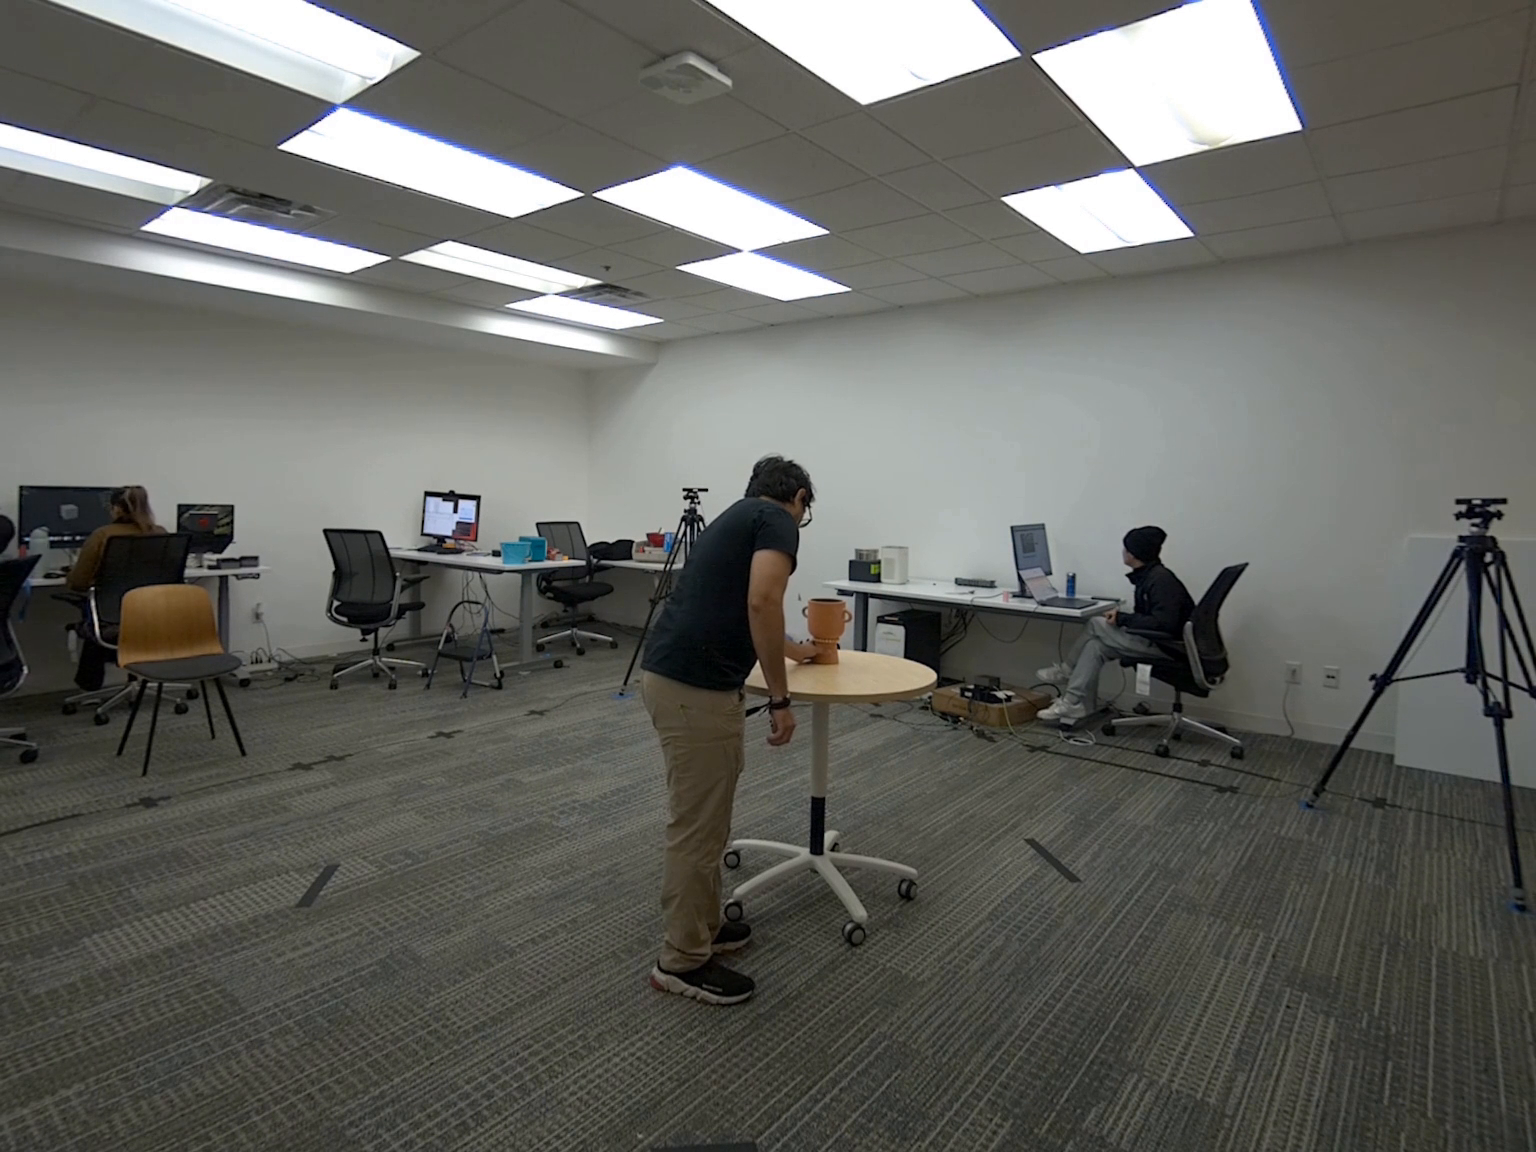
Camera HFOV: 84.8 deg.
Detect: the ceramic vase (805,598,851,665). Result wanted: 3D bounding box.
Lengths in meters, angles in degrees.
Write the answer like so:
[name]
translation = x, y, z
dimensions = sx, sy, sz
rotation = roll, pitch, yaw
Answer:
[ceramic vase]
translation = 0.199, 0.196, 3.029
dimensions = 0.132, 0.219, 0.162
rotation = 1, 4, -20
